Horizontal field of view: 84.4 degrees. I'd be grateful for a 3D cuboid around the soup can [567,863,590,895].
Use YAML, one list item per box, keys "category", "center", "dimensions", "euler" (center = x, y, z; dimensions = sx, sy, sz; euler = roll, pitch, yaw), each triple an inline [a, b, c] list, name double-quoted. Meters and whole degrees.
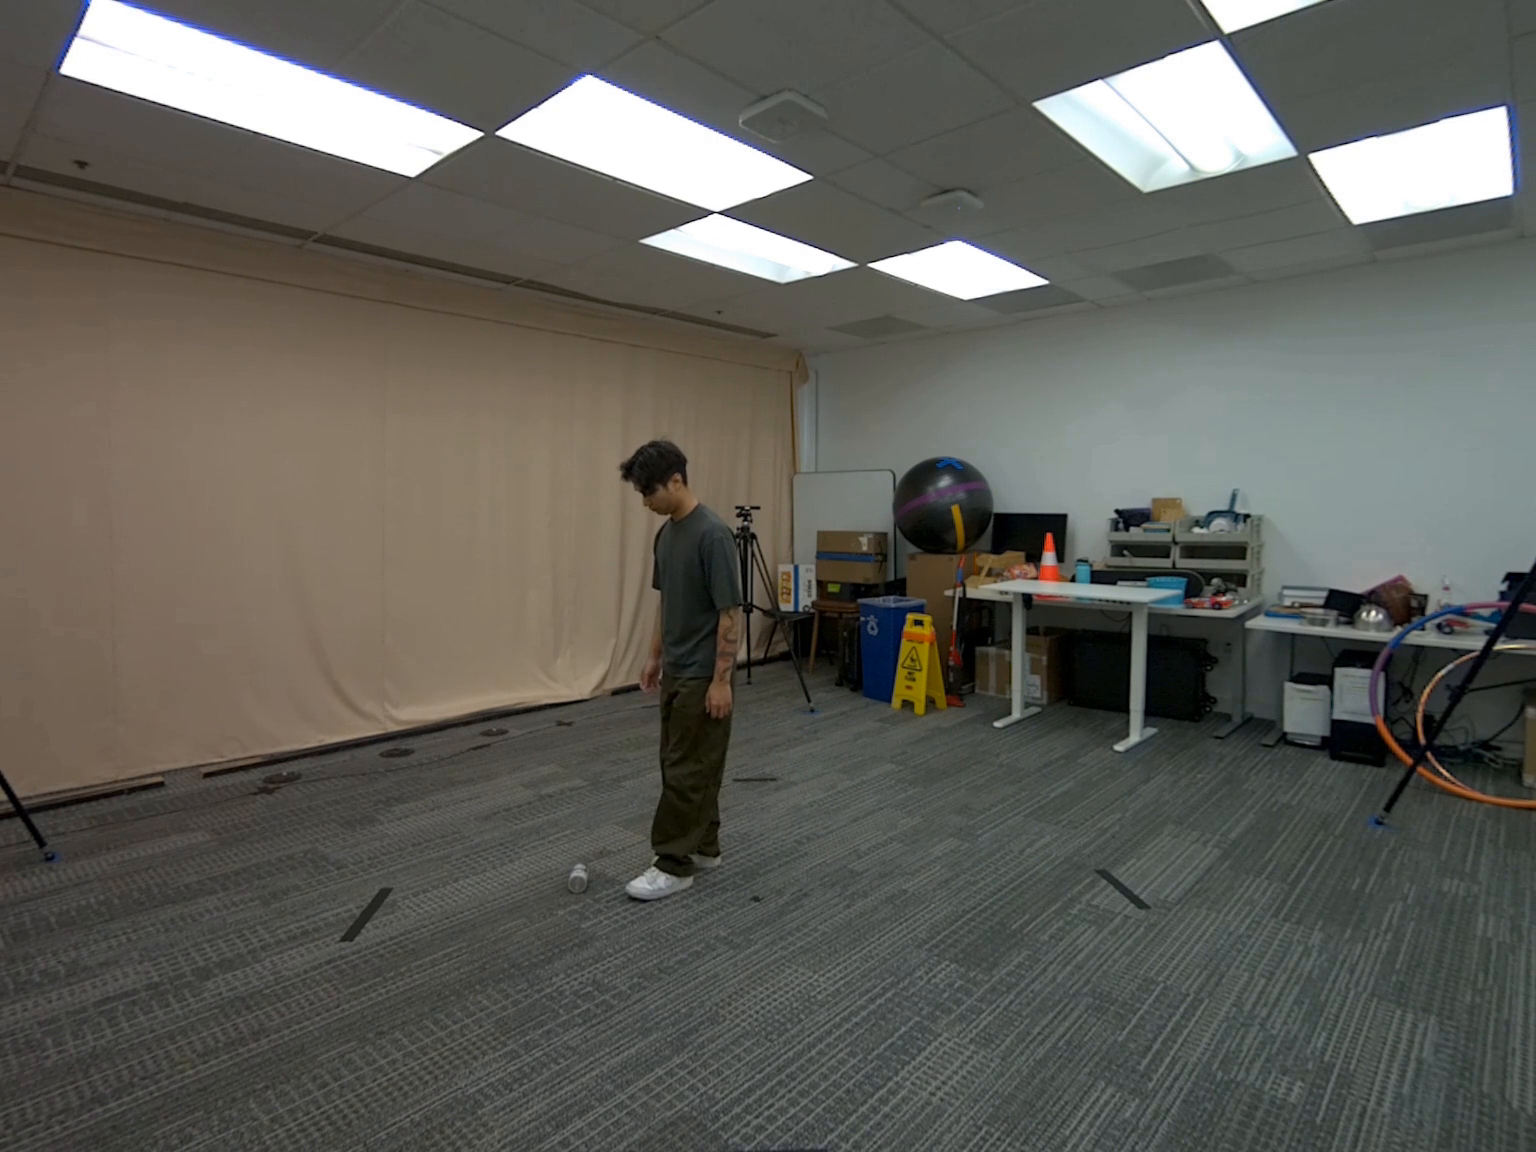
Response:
- category: "soup can"
  center: [-0.693, 1.107, 3.092]
  dimensions: [0.067, 0.067, 0.122]
  euler: [0, 0, -6]
